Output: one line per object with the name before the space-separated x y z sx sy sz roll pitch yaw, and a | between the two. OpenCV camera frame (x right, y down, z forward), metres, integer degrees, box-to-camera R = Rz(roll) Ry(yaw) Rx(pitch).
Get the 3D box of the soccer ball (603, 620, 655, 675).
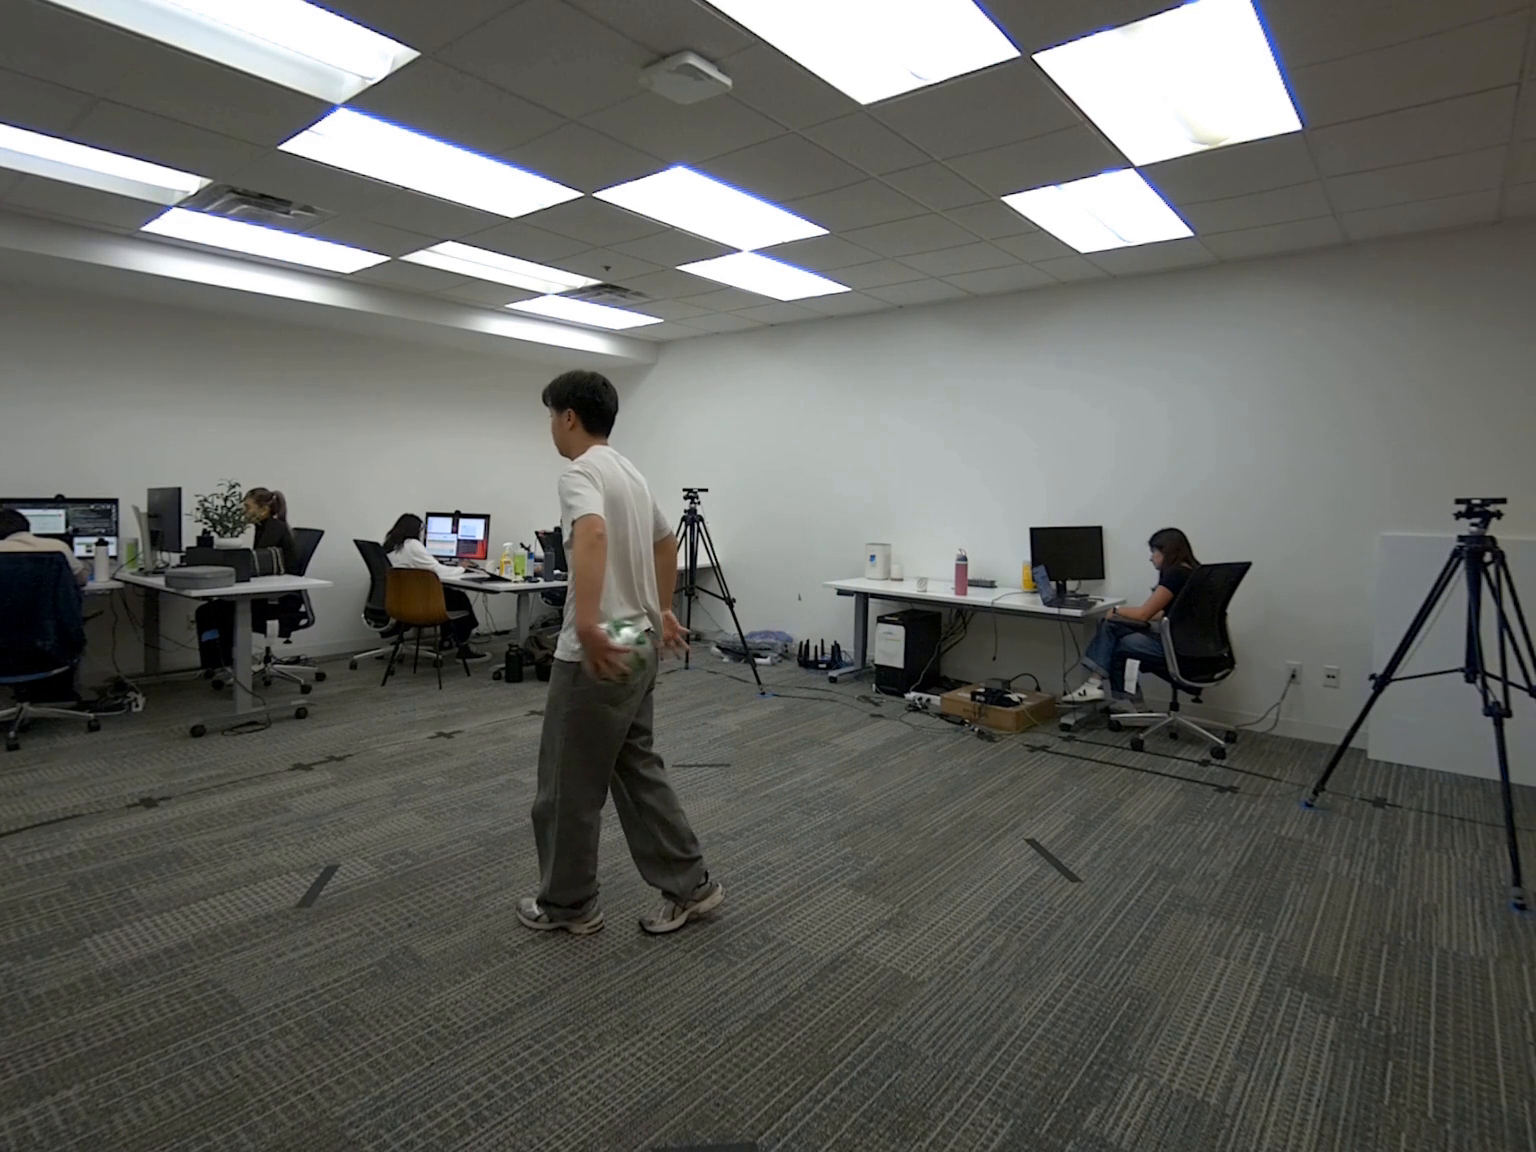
soccer ball | -0.387 0.196 2.335 0.187 0.187 0.188 1 4 -2
